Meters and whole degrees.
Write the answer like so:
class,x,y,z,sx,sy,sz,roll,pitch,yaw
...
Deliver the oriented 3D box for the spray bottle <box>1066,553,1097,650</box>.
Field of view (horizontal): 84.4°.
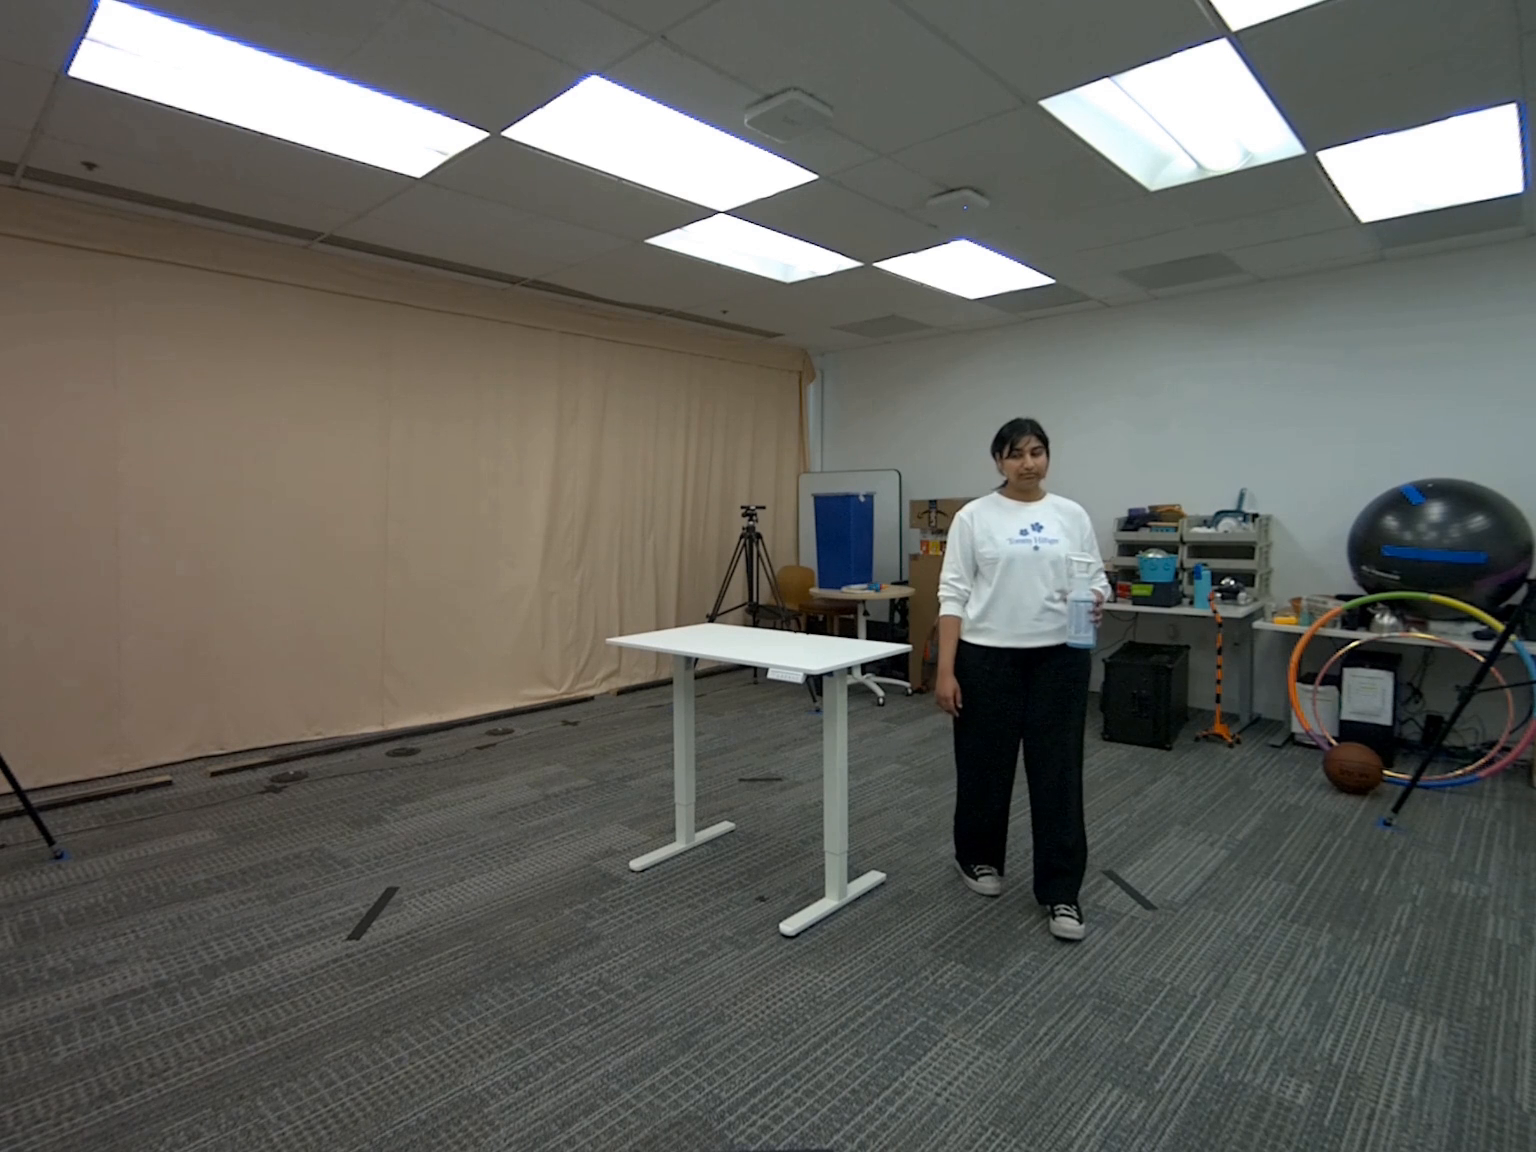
class,x,y,z,sx,sy,sz,roll,pitch,yaw
spray bottle,0.990,0.077,2.660,0.084,0.297,0.093,2,0,-38
